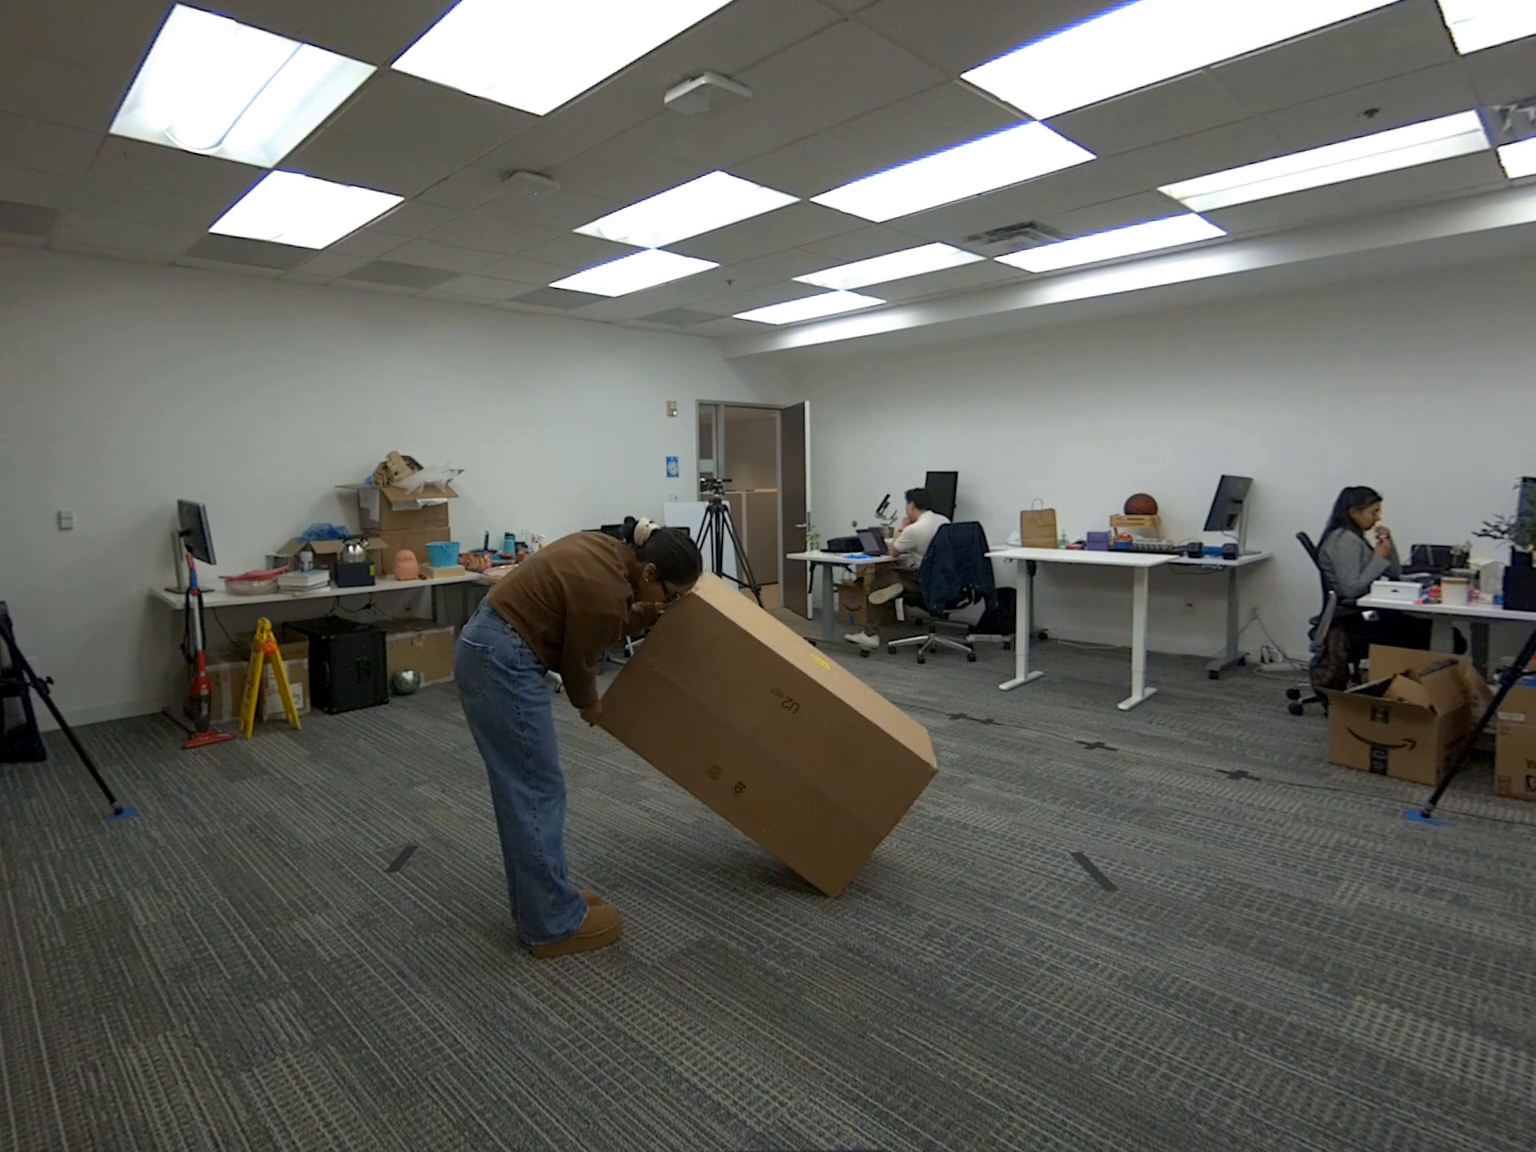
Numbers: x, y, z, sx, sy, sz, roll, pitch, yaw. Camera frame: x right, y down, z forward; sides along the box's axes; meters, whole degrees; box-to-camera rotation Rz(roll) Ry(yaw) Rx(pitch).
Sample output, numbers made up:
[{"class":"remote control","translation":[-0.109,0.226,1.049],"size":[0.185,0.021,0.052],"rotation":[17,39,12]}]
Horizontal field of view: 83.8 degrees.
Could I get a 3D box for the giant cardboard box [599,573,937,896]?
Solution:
[{"class":"giant cardboard box","translation":[-0.011,0.523,3.028],"size":[1.030,0.583,0.446],"rotation":[36,8,2]}]
